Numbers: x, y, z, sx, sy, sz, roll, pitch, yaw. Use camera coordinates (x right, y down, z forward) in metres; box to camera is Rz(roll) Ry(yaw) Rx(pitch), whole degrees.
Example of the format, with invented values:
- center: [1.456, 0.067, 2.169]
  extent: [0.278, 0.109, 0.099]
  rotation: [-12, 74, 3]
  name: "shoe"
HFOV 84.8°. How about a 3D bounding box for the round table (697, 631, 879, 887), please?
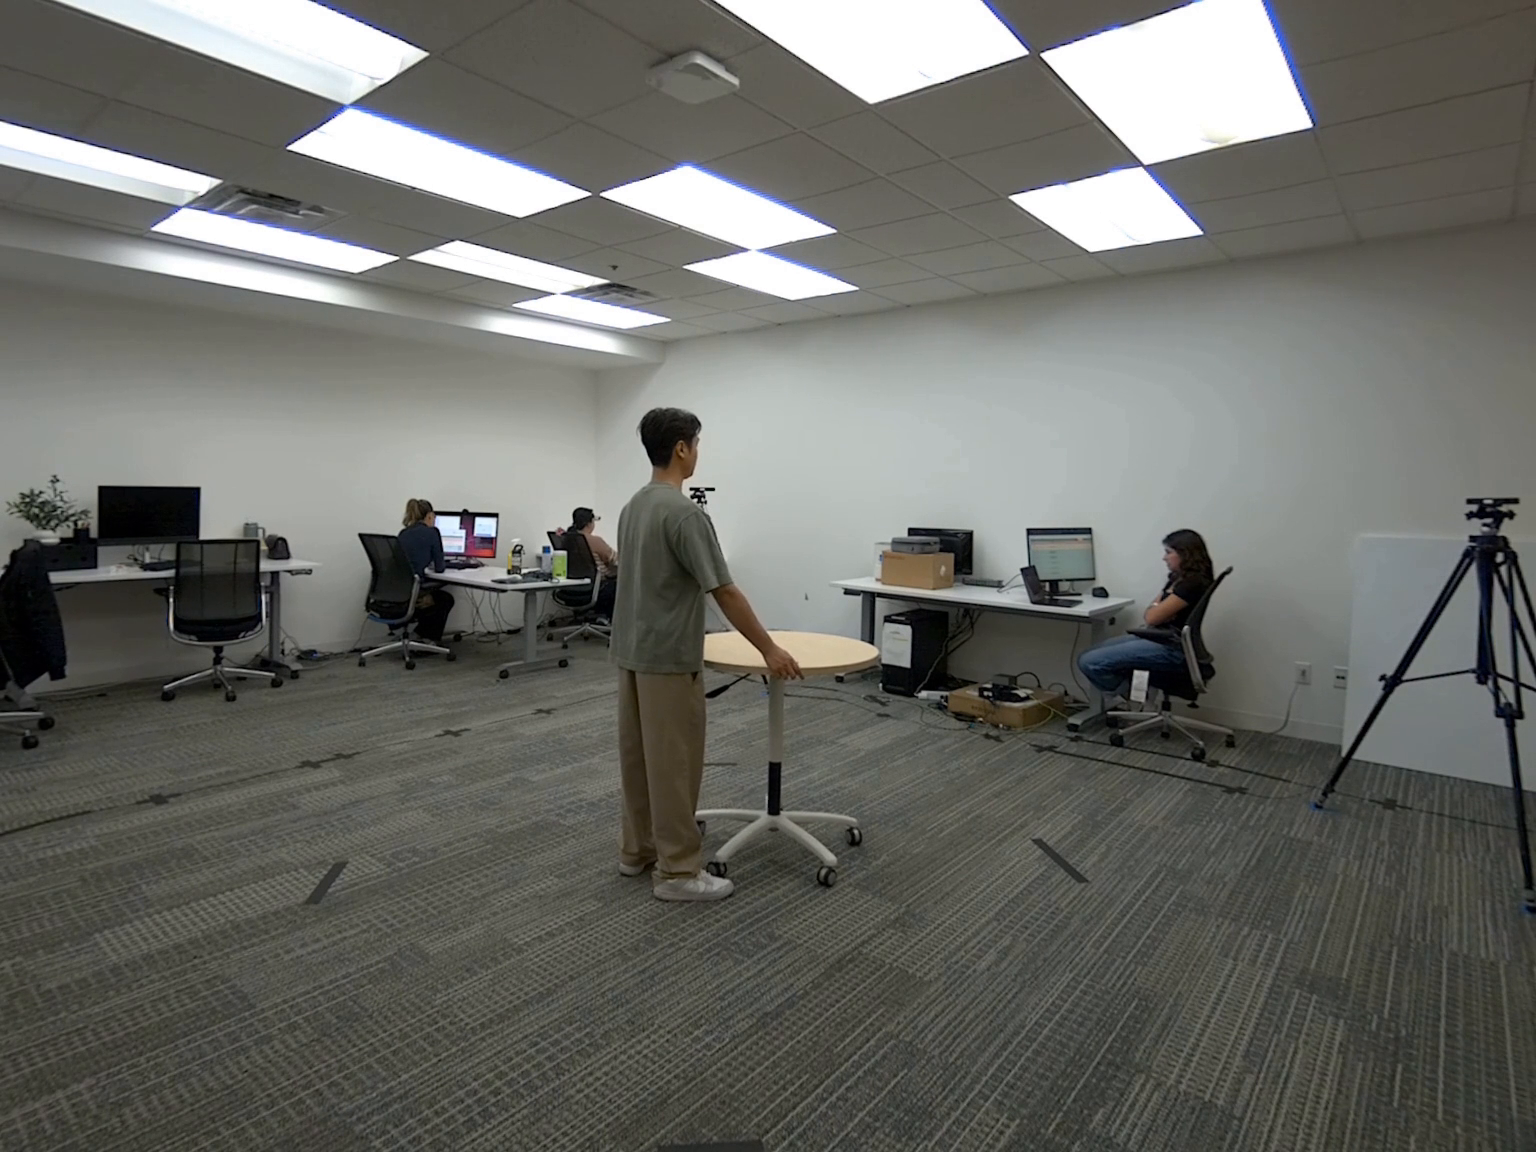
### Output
- center: [0.037, 0.662, 3.269]
  extent: [0.784, 0.784, 0.789]
  rotation: [0, 4, -2]
  name: "round table"
